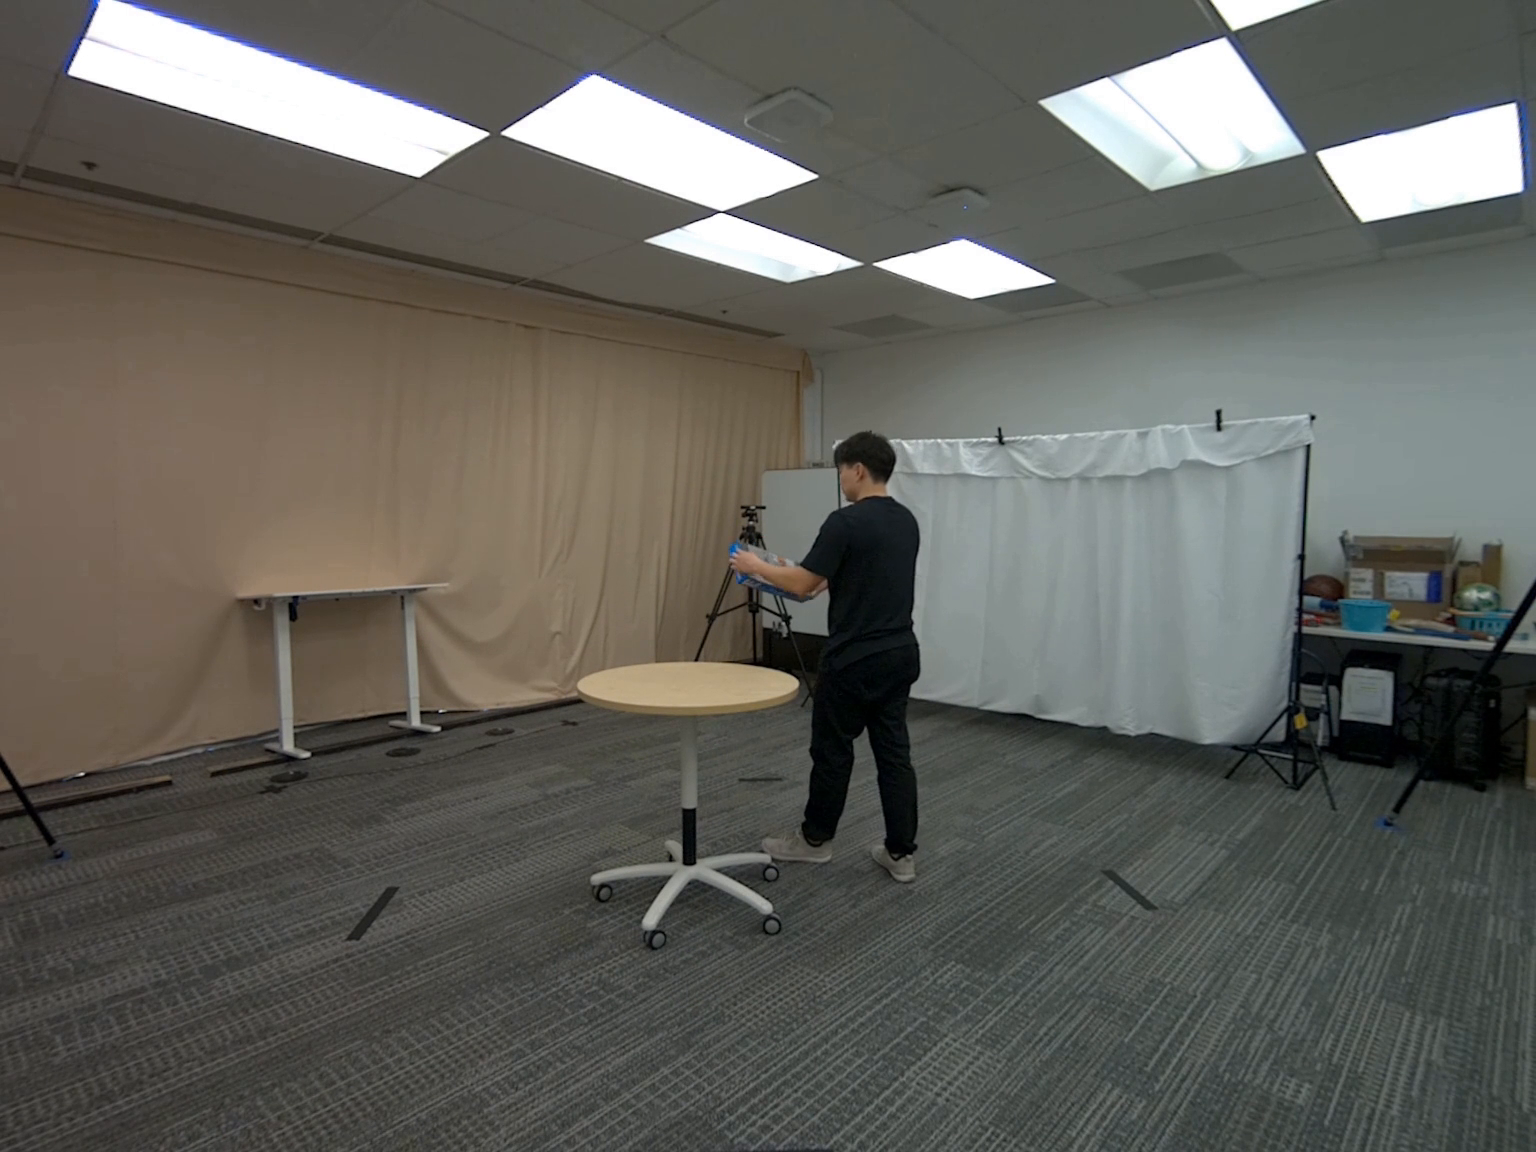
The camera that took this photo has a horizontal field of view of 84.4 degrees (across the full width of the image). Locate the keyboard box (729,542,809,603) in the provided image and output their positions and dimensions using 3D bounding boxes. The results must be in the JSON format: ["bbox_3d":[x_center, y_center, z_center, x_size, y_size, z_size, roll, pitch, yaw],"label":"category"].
[{"bbox_3d":[0.019,-0.015,3.520,0.060,0.180,0.421,-34,-33,29],"label":"keyboard box"}]
